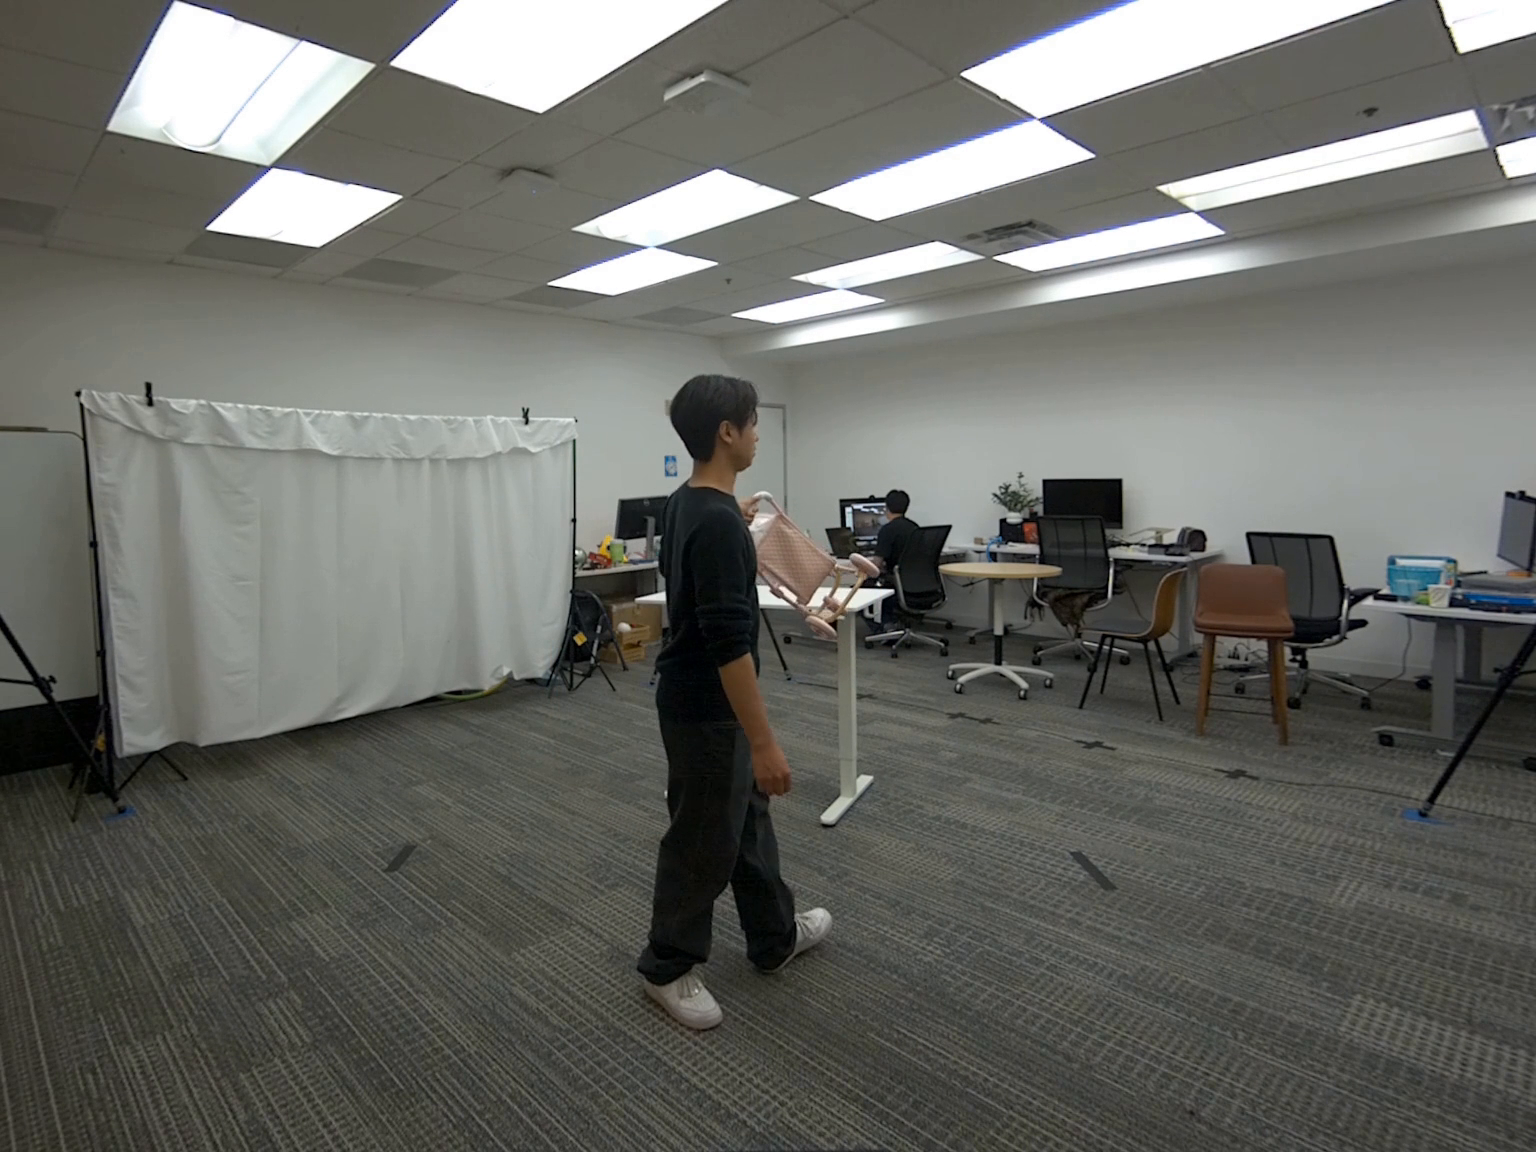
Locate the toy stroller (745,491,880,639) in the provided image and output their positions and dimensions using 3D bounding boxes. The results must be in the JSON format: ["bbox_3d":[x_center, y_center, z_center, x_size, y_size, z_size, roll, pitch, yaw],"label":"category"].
[{"bbox_3d":[0.105,-0.028,2.832,0.531,0.281,0.344,38,-7,-6],"label":"toy stroller"}]
